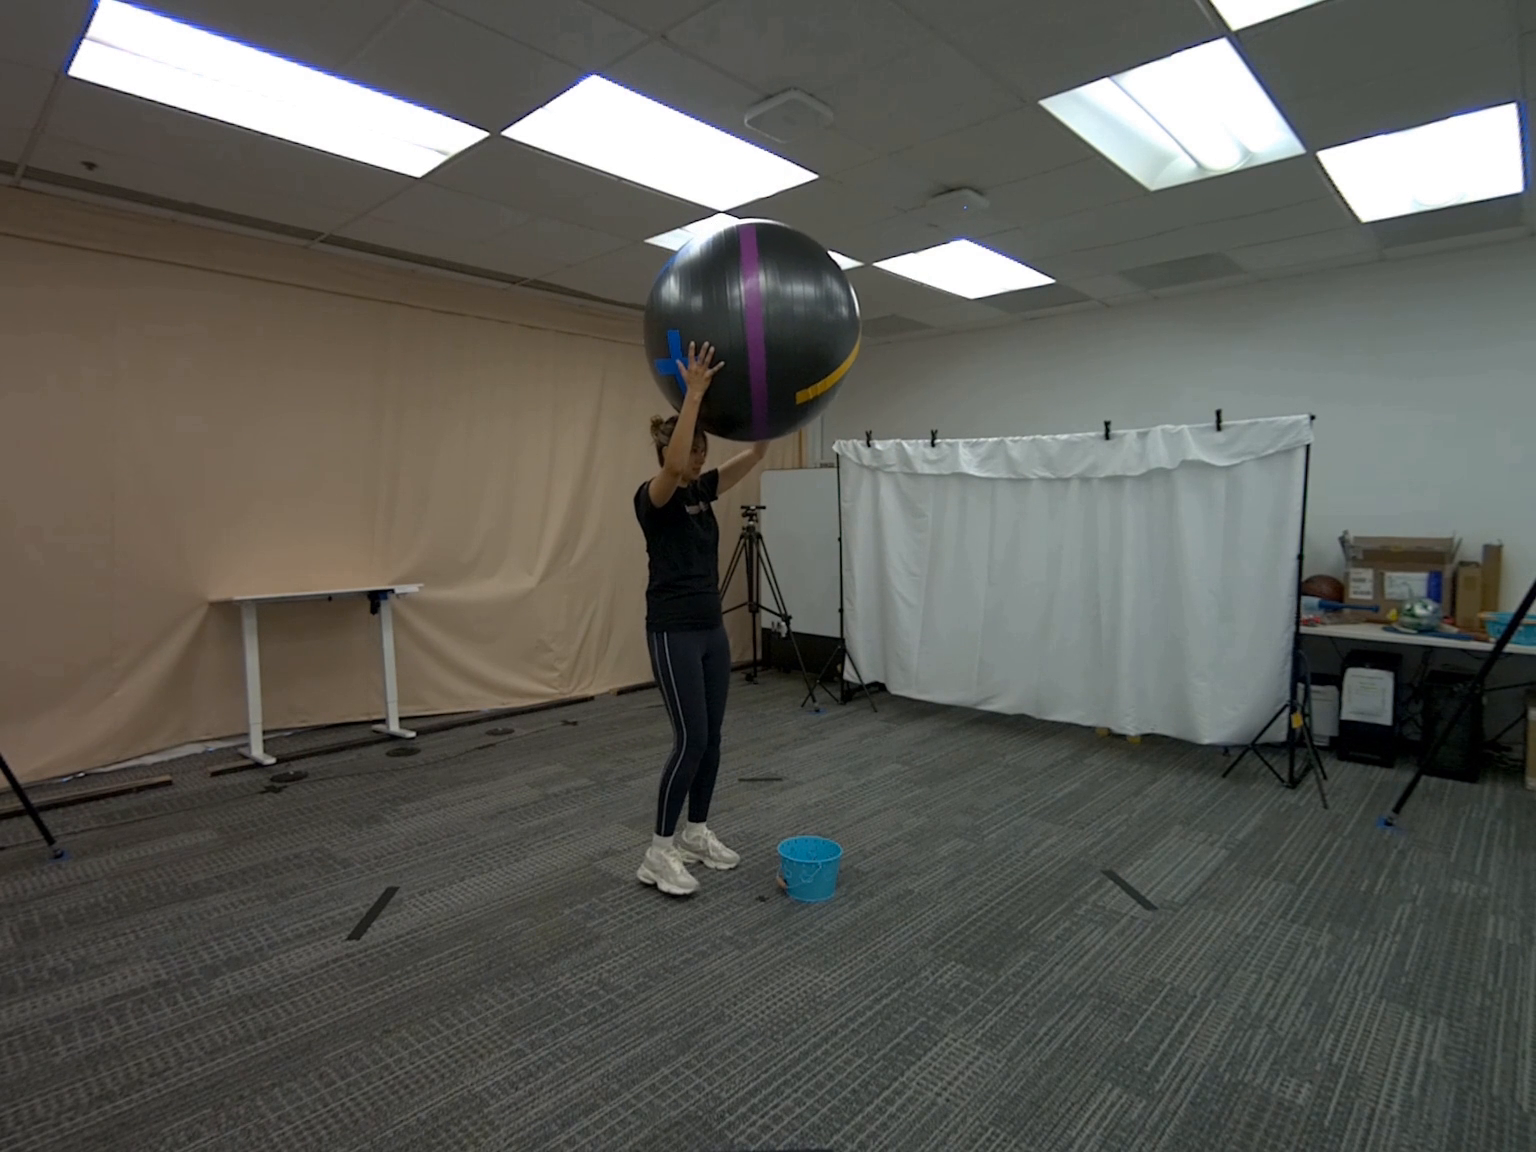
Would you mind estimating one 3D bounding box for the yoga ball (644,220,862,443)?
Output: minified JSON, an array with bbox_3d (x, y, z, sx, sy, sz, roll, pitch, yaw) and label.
[{"bbox_3d":[-0.056,-0.845,2.969,0.757,0.756,0.760,0,4,-2],"label":"yoga ball"}]
